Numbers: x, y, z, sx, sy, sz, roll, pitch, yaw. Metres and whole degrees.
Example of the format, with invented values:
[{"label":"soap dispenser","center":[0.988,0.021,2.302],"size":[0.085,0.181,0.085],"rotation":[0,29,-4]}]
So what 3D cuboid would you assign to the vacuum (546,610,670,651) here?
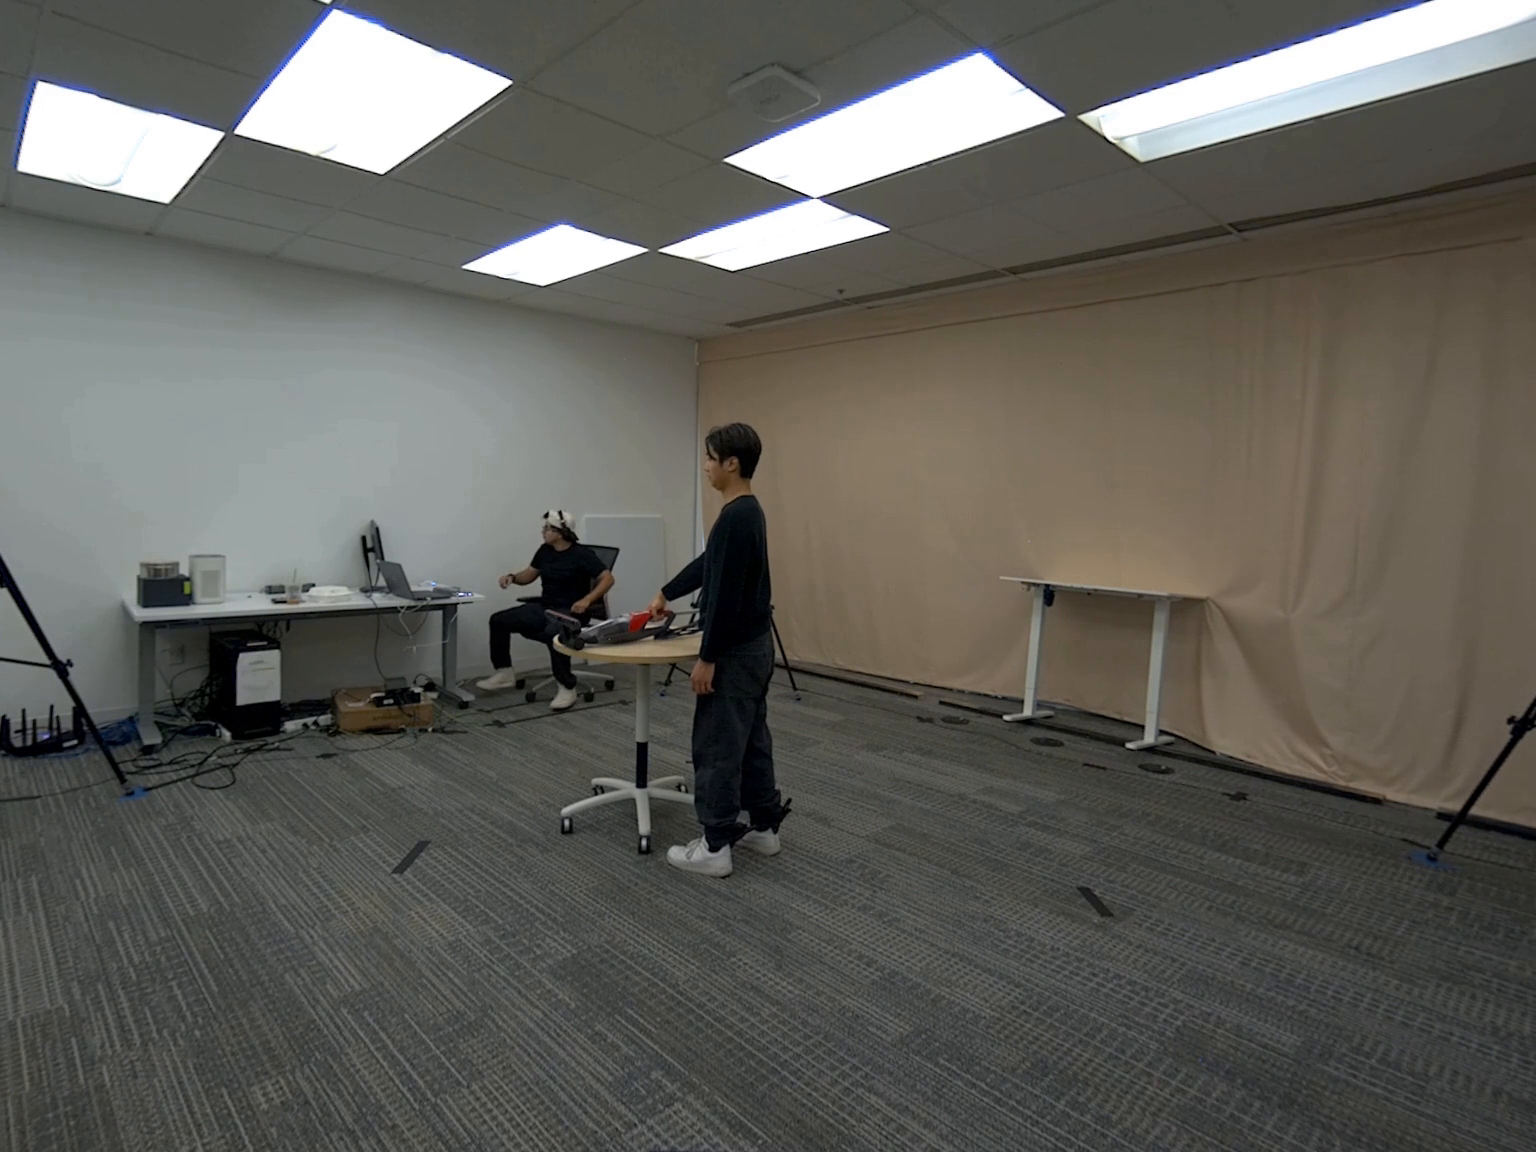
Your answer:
[{"label":"vacuum","center":[-0.418,0.210,3.656],"size":[1.025,0.143,0.259],"rotation":[-1,6,-39]}]
